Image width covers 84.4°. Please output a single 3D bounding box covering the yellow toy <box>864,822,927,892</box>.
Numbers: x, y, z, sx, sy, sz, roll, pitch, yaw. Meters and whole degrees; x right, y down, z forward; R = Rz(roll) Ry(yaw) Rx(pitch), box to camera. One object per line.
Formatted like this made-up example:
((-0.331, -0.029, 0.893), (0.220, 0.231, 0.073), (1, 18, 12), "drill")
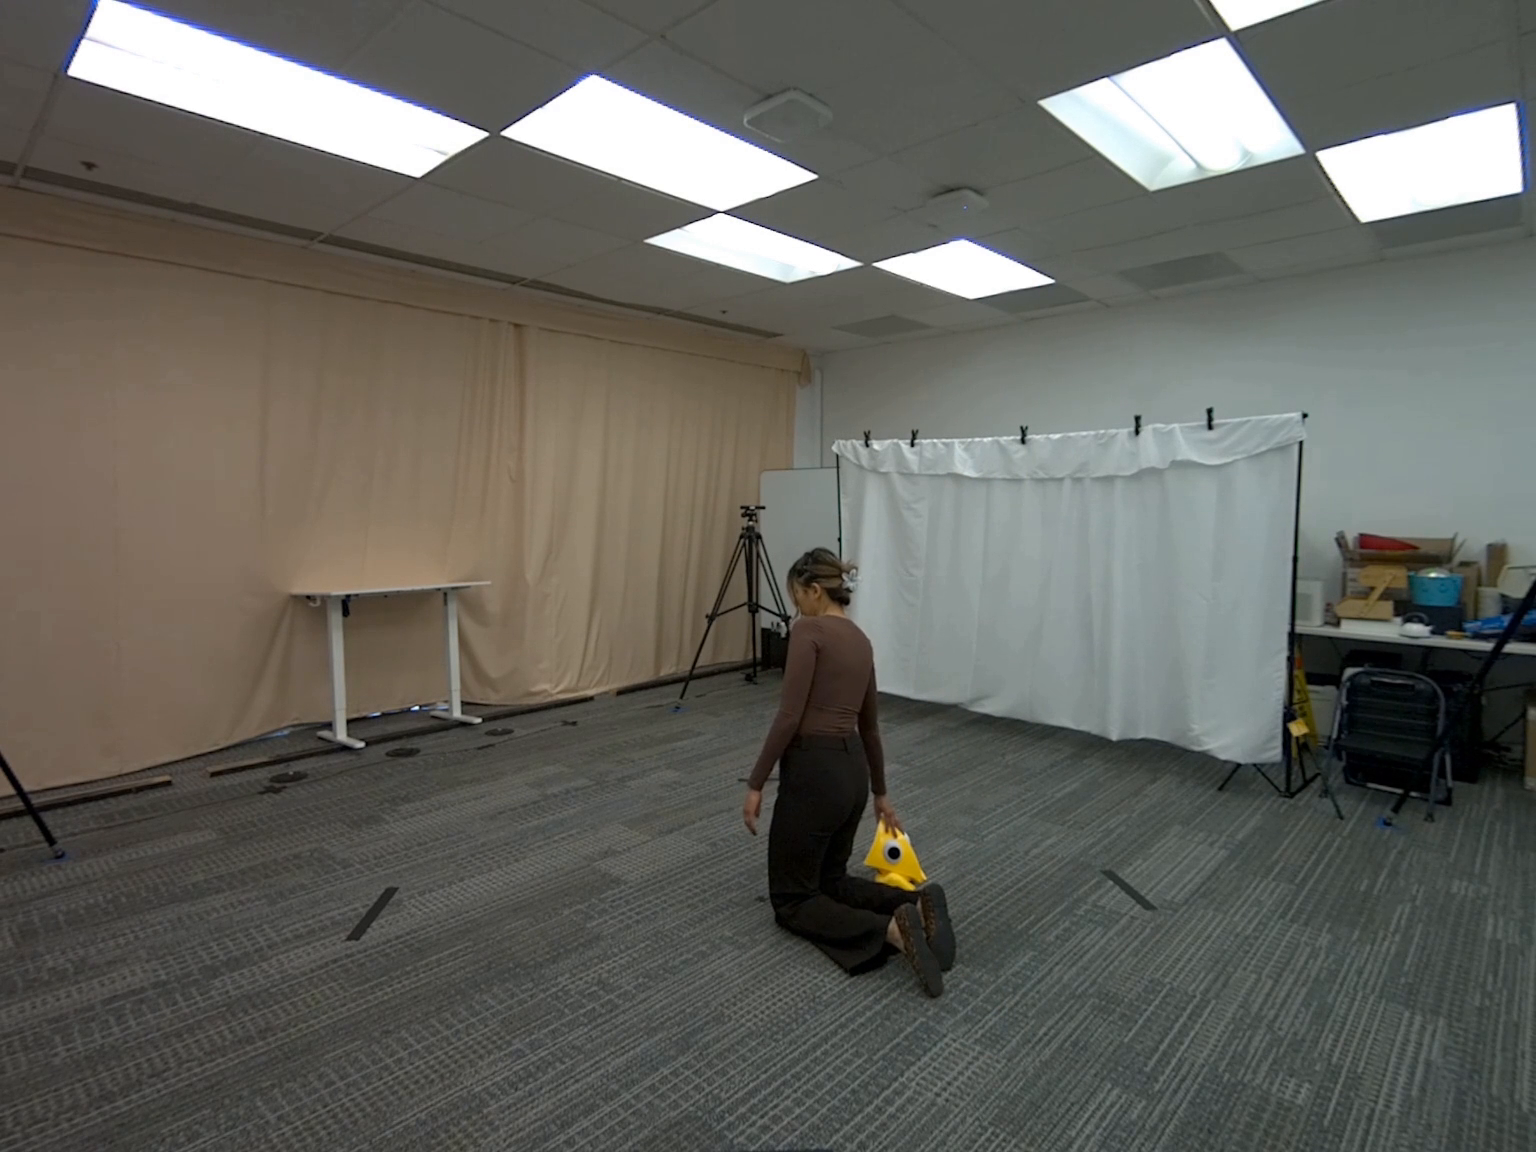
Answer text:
((0.481, 1.020, 3.120), (0.199, 0.230, 0.199), (0, 2, 31), "yellow toy")
